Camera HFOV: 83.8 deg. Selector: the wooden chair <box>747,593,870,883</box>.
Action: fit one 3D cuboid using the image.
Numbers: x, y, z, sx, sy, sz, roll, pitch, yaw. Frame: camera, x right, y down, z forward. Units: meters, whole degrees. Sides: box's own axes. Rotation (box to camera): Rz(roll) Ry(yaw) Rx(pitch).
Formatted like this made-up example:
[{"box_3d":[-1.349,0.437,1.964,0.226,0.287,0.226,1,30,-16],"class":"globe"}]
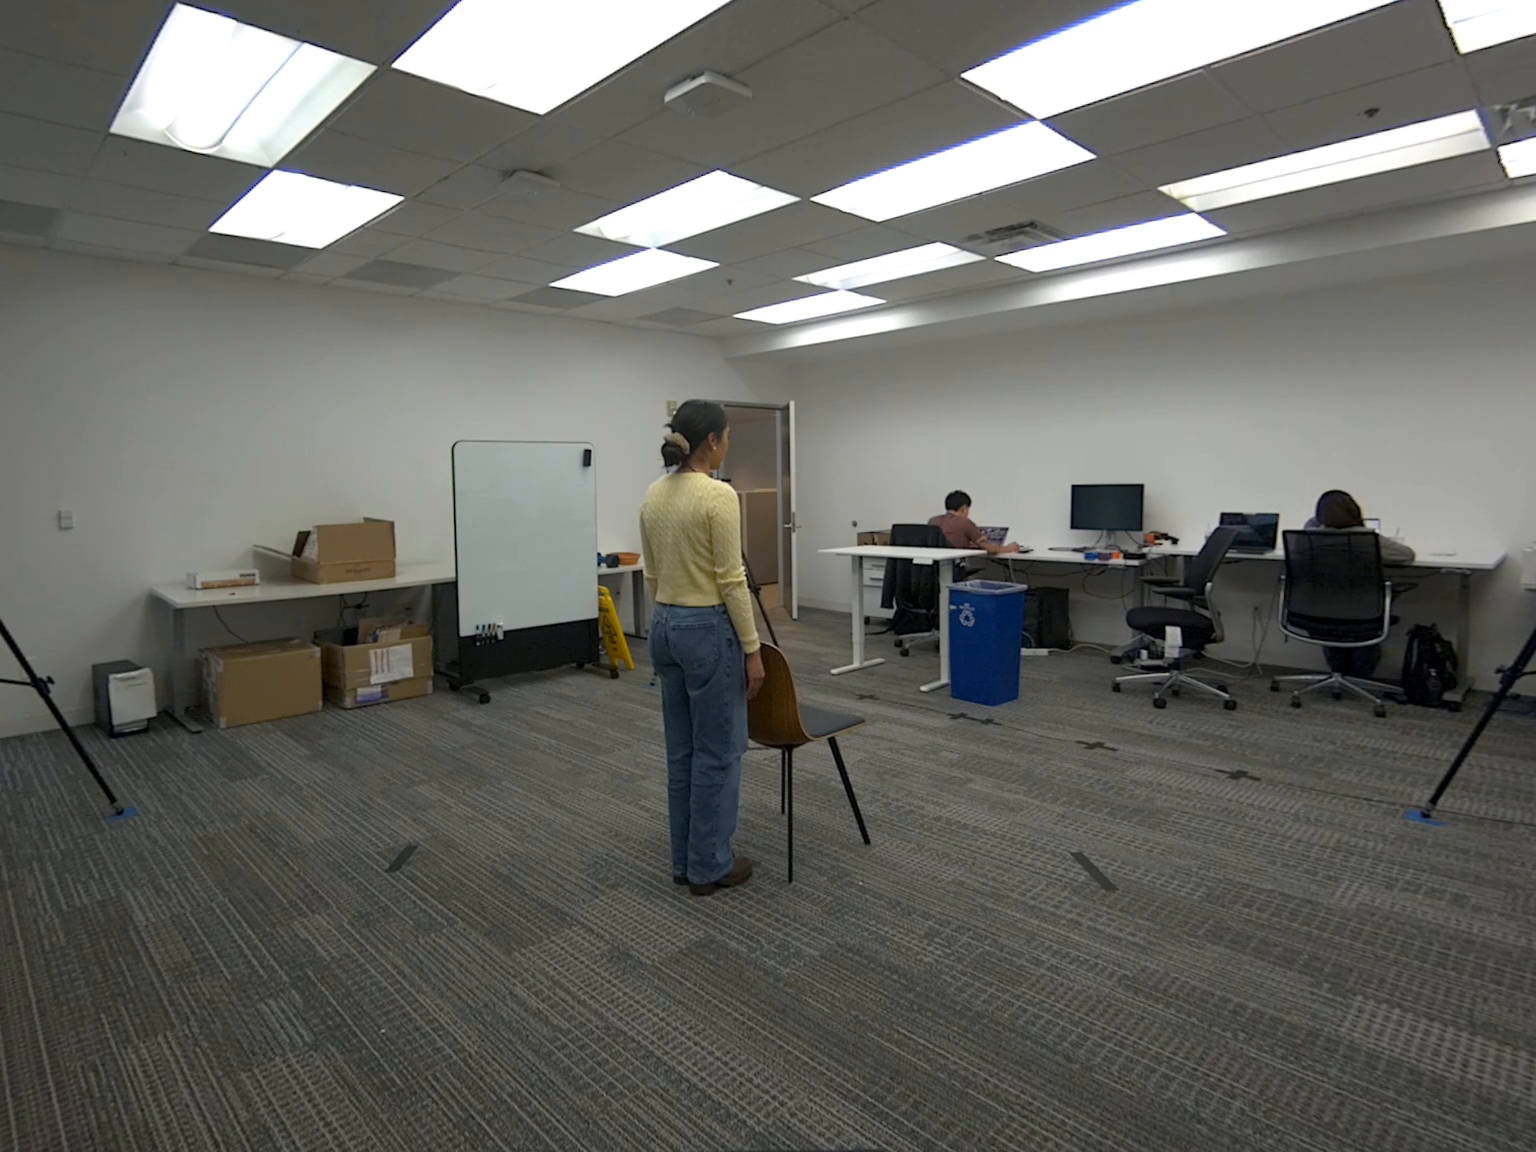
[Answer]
[{"box_3d":[0.071,0.599,3.239,0.493,0.871,0.511,3,10,45],"class":"wooden chair"}]
